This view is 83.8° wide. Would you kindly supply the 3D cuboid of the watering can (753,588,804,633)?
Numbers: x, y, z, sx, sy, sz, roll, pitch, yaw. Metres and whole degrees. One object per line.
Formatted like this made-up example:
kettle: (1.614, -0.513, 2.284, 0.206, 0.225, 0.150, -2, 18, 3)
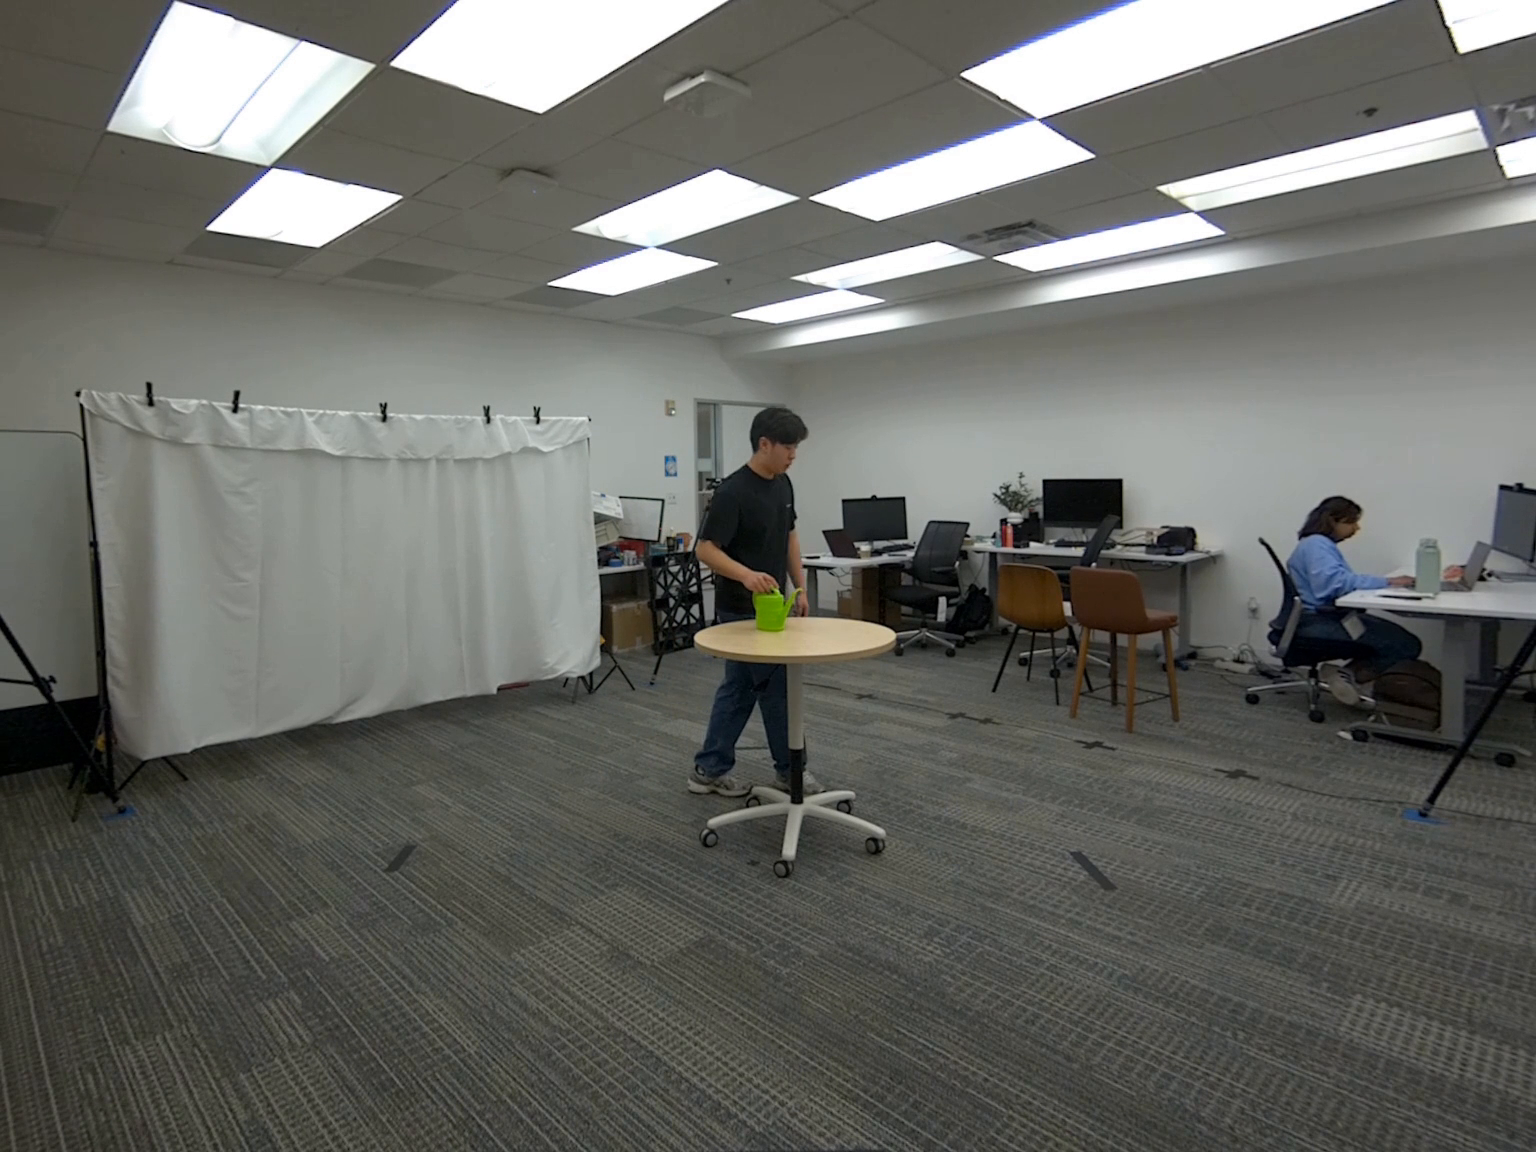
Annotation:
watering can: (0.024, 0.130, 3.357, 0.096, 0.176, 0.285, -10, 8, -27)
